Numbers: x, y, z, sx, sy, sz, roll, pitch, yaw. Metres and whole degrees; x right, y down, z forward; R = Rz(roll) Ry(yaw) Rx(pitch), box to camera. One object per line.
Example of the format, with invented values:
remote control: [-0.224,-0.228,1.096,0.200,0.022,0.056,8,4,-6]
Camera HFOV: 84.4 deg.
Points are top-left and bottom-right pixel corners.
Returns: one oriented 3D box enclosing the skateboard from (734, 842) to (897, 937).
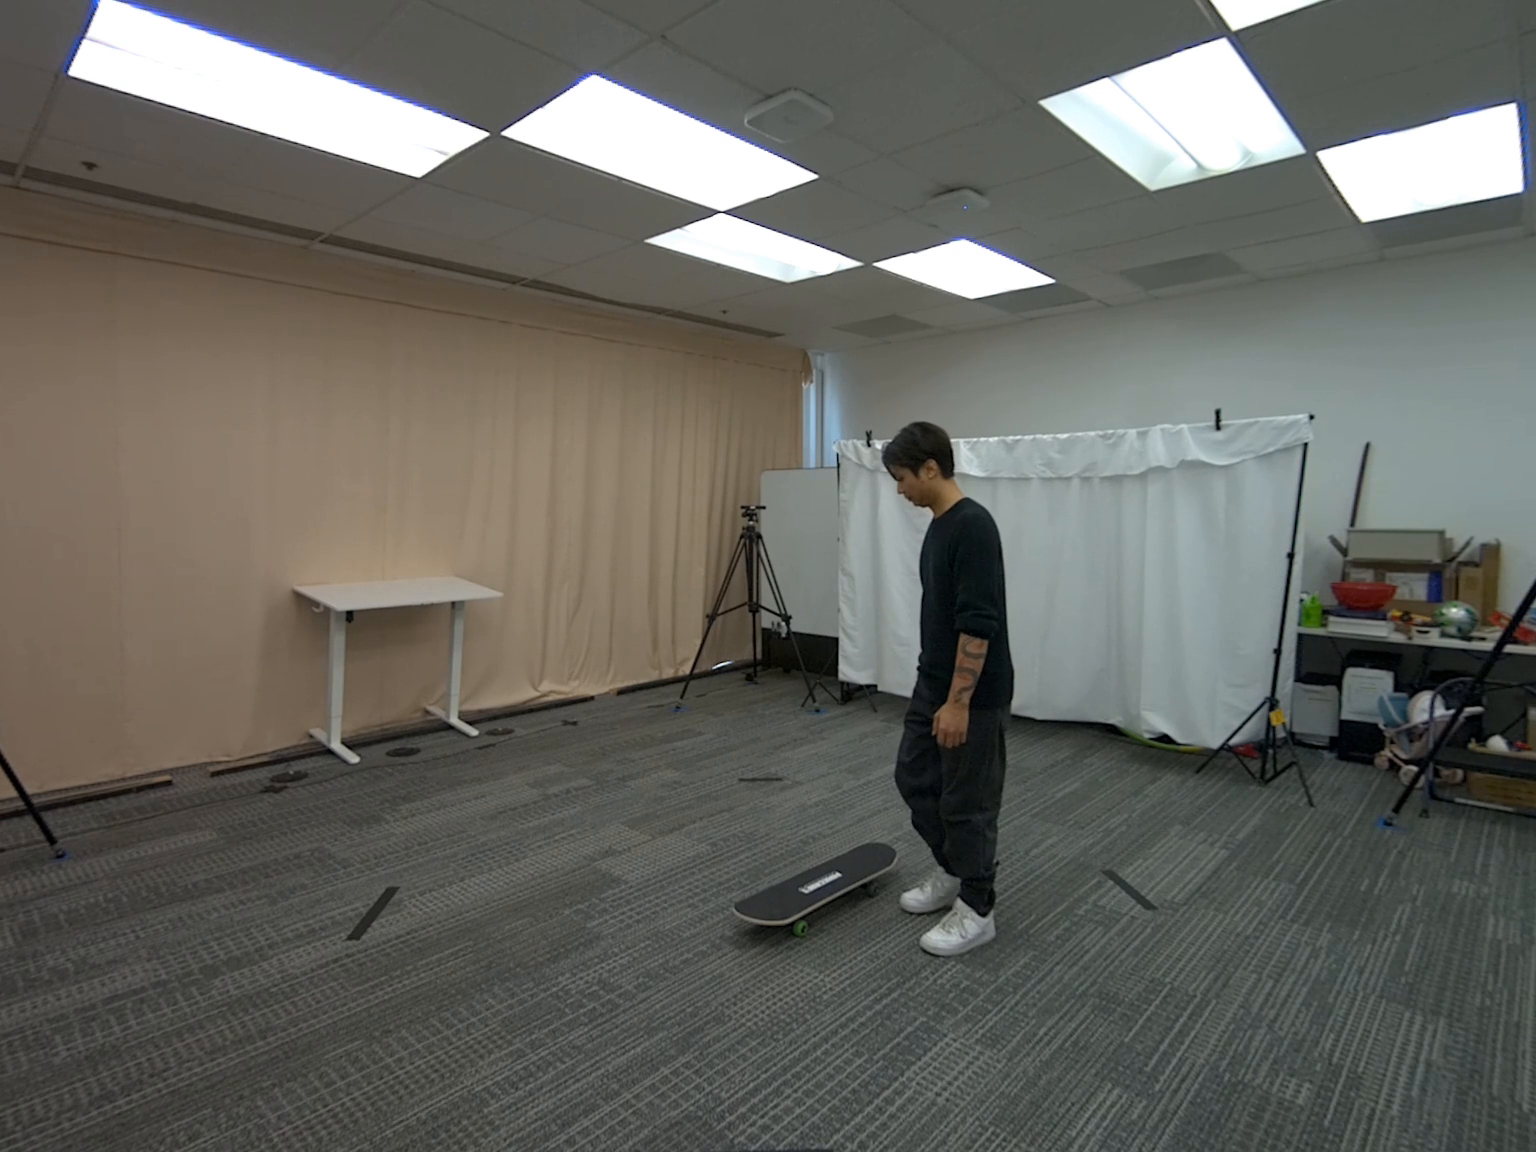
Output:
skateboard: [0.188,1.095,2.914,0.200,0.110,0.761,3,6,45]
